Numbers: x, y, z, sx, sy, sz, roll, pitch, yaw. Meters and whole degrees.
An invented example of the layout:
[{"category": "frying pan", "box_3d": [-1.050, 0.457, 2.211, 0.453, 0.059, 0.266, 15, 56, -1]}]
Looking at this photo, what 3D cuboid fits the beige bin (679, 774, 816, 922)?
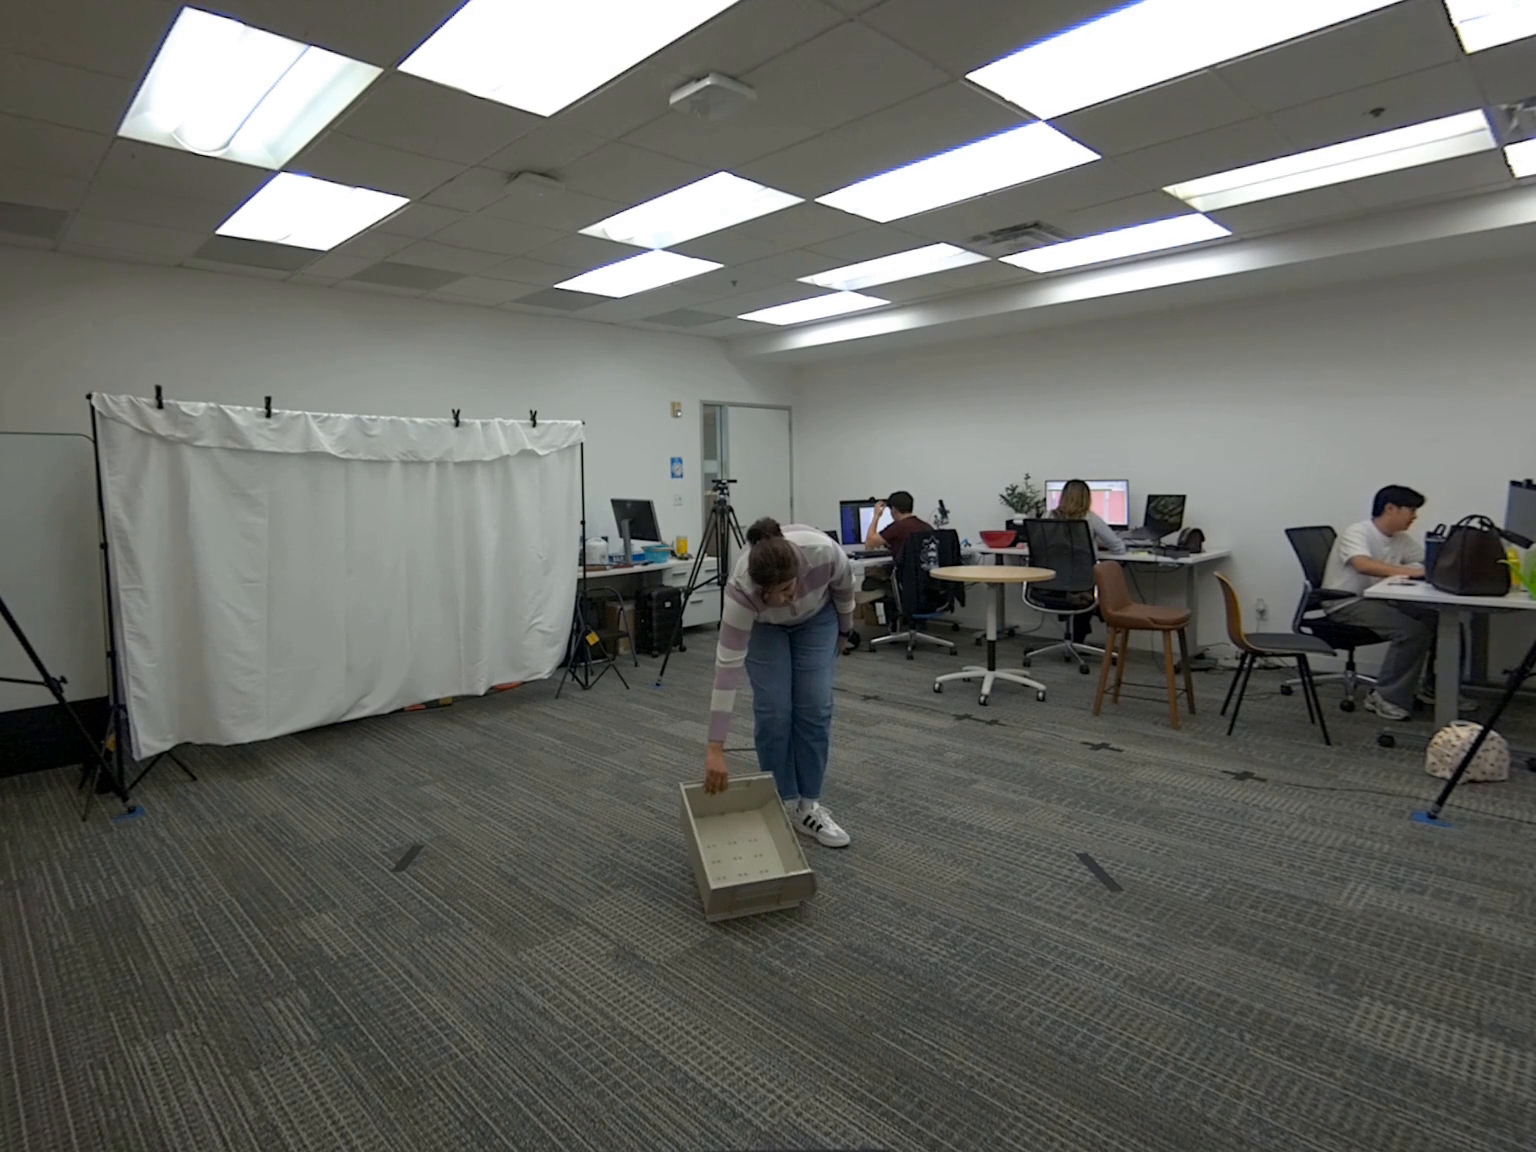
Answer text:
[{"category": "beige bin", "box_3d": [-0.075, 0.893, 2.873, 0.372, 0.185, 0.438, -4, 35, -17]}]
